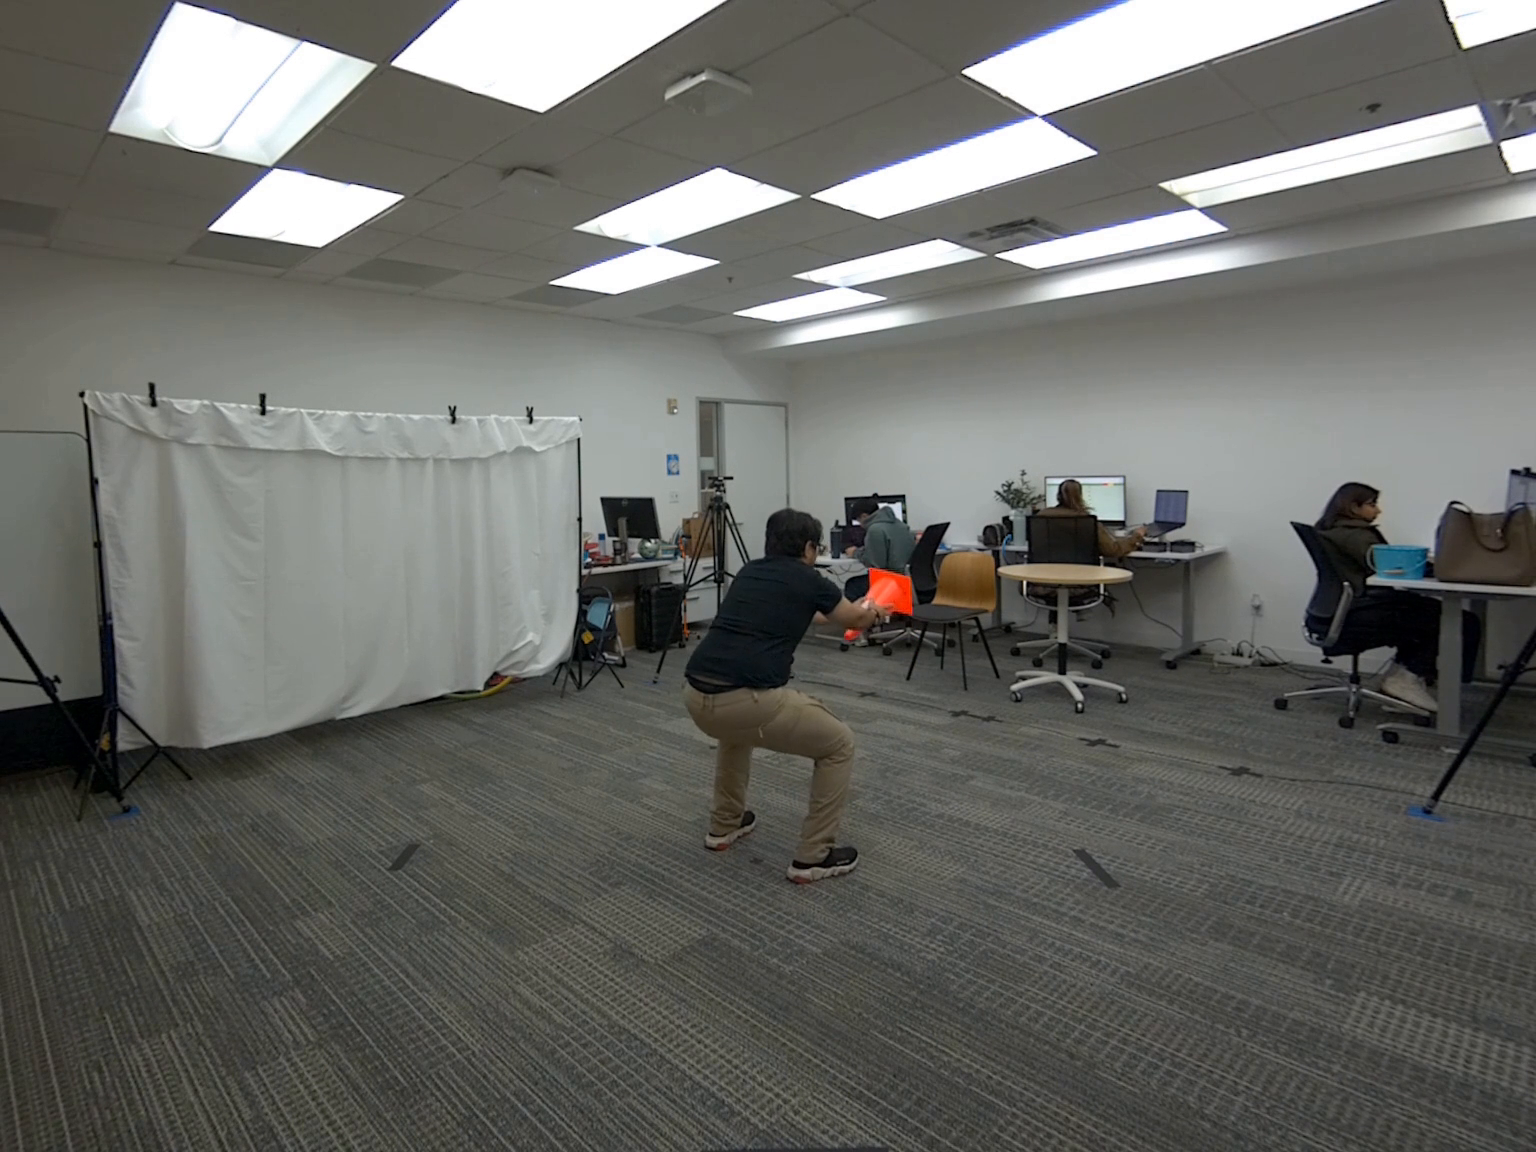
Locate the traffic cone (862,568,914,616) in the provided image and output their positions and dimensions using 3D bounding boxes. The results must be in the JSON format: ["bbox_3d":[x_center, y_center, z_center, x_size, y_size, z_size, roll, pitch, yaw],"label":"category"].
[{"bbox_3d":[0.429,0.154,3.593,0.212,0.198,0.381,14,36,34],"label":"traffic cone"}]
